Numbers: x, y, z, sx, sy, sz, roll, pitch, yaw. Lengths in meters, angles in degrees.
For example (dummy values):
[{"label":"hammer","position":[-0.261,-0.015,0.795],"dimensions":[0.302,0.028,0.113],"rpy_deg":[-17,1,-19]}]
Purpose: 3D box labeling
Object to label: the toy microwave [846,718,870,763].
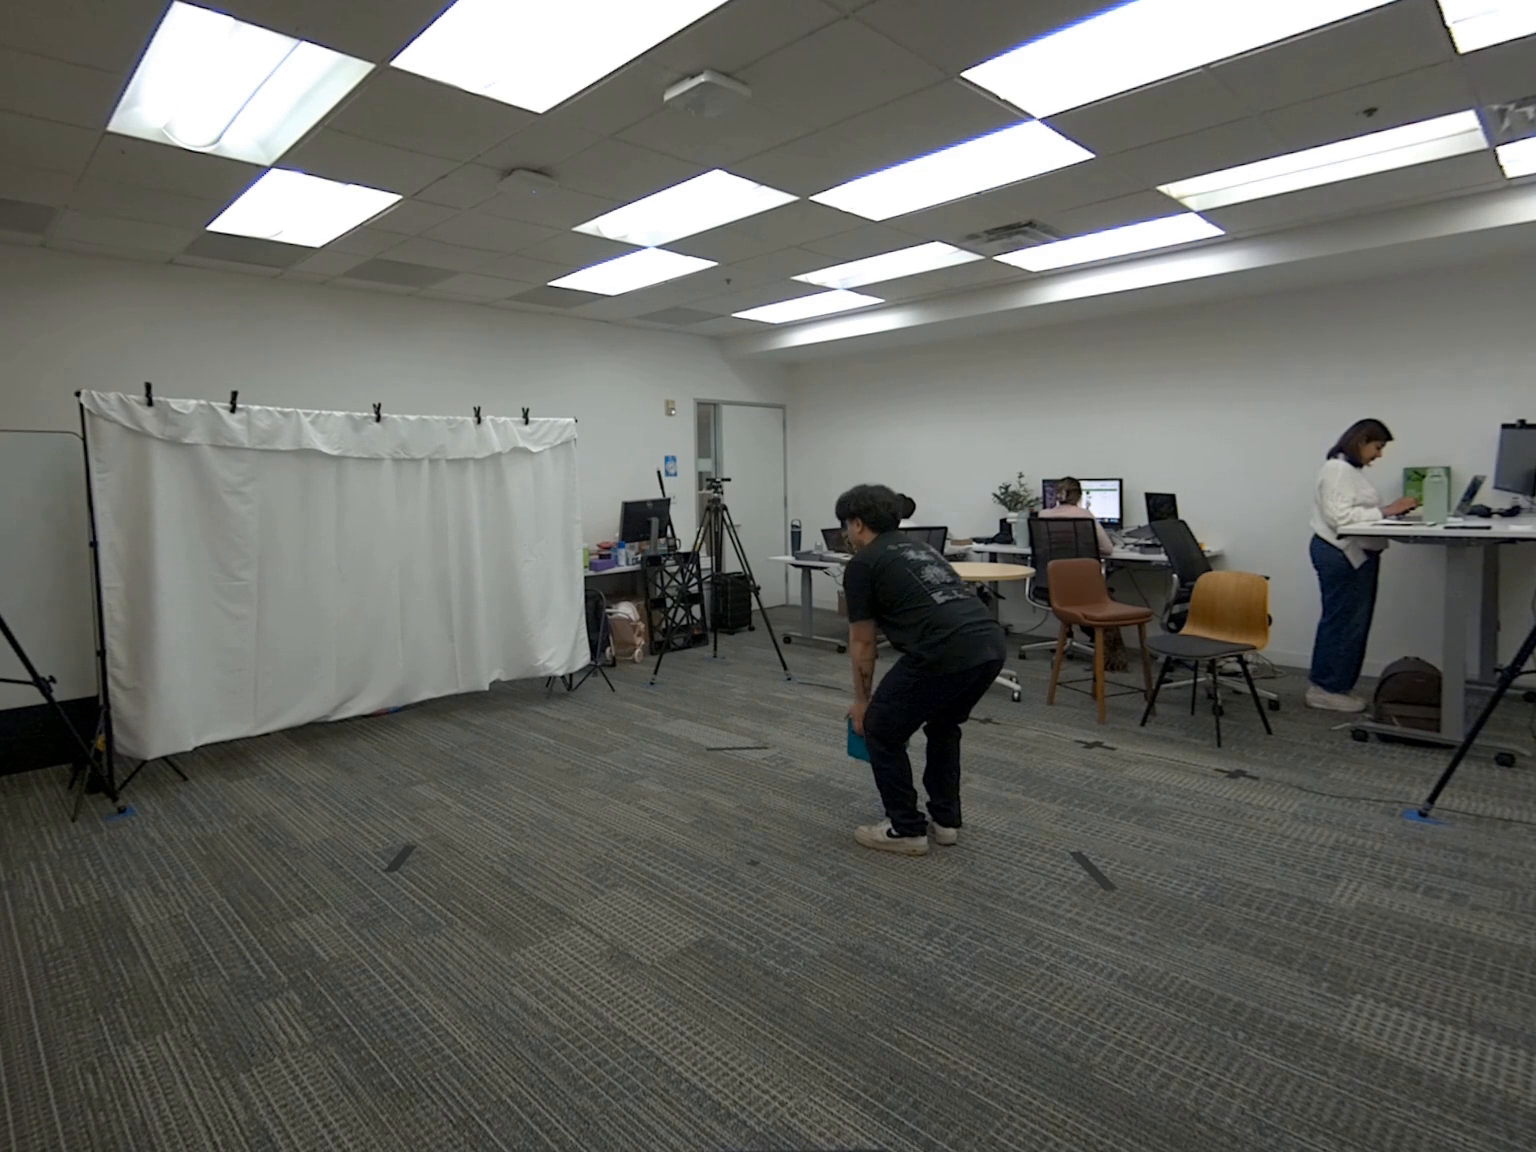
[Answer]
[{"label":"toy microwave","position":[0.466,0.642,3.515],"dimensions":[0.157,0.183,0.279],"rpy_deg":[7,11,42]}]
